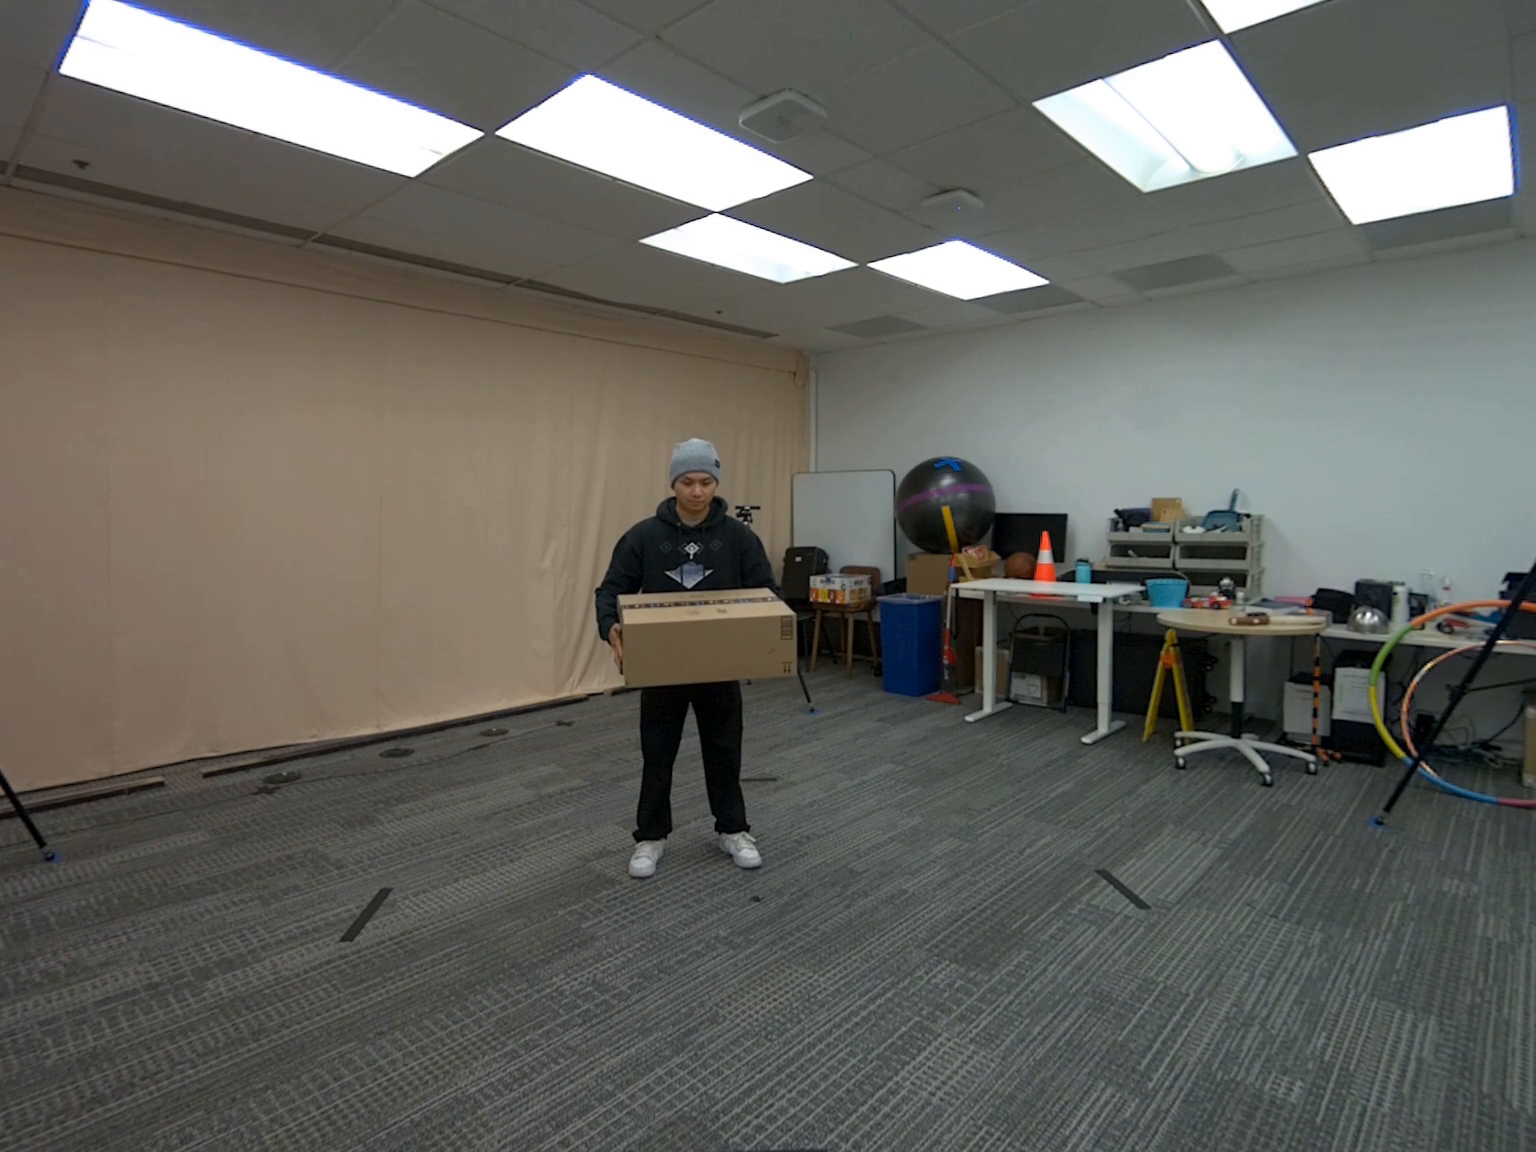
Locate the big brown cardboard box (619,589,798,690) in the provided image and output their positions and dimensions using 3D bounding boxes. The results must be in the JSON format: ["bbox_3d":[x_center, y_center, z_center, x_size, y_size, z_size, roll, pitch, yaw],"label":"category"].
[{"bbox_3d":[-0.230,0.204,2.934,0.584,0.231,0.424,-4,12,-8],"label":"big brown cardboard box"}]
